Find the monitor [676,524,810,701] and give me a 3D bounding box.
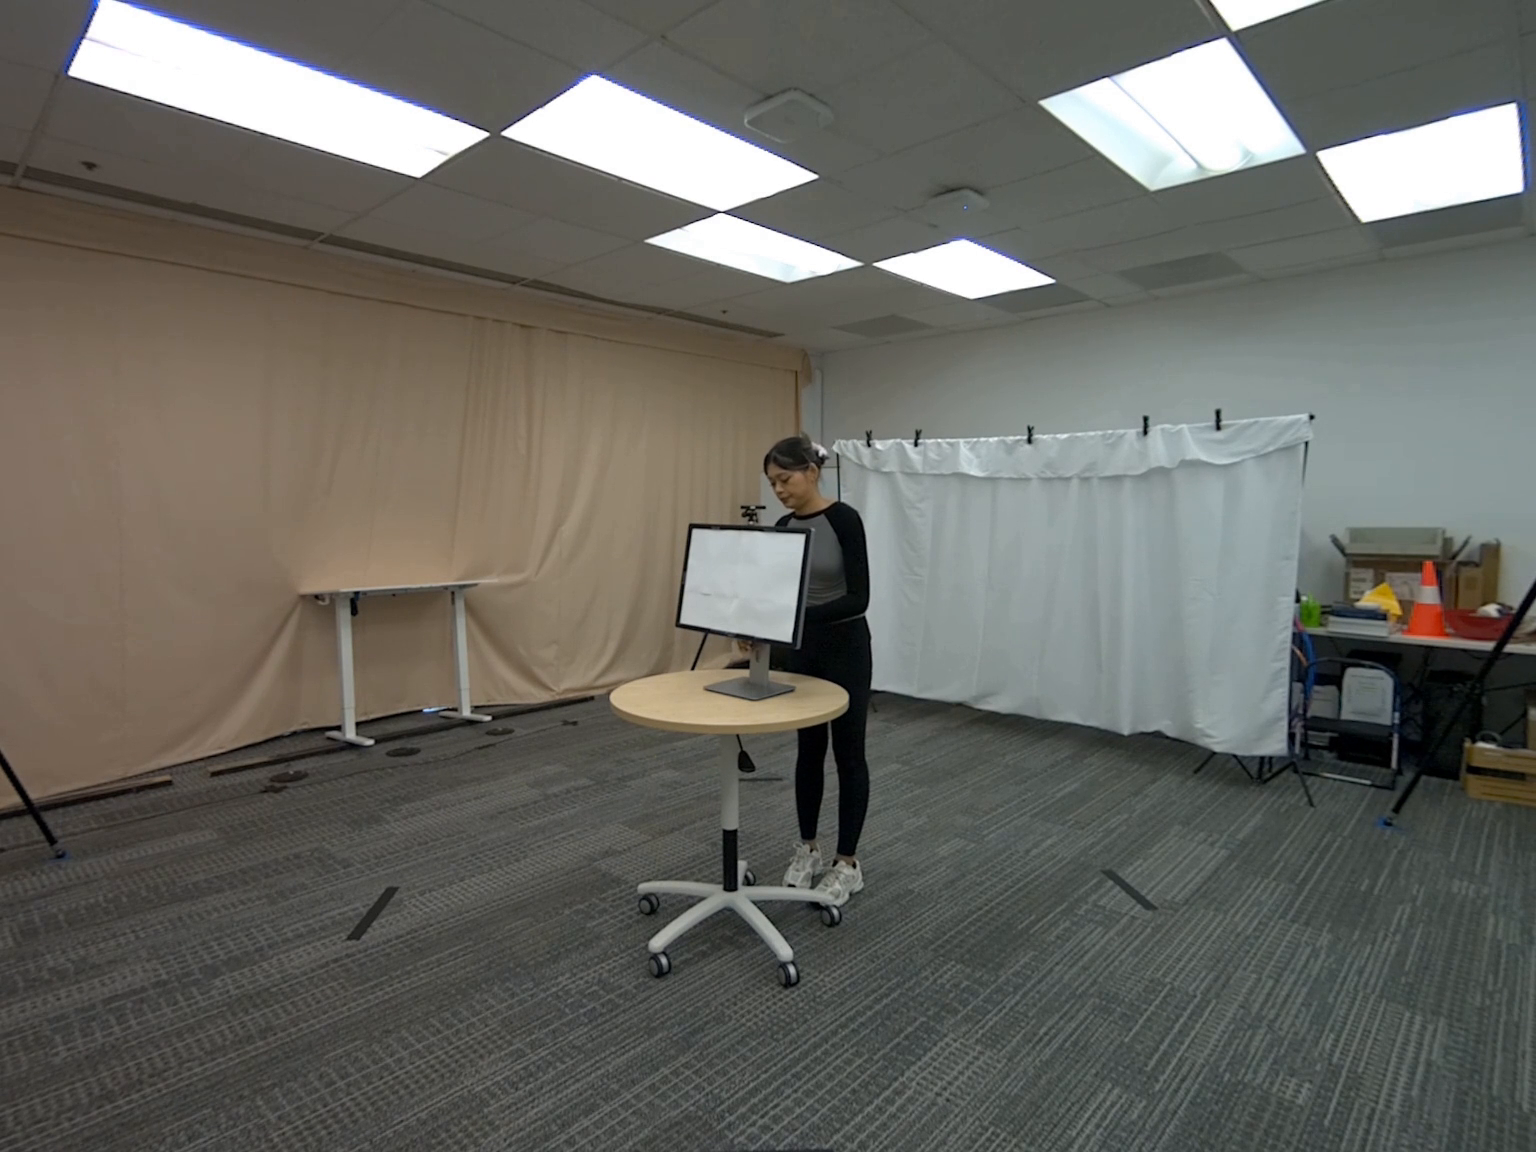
[{"bbox_3d":[-0.059,0.112,2.742,0.557,0.521,0.181,4,7,43],"label":"monitor"}]
